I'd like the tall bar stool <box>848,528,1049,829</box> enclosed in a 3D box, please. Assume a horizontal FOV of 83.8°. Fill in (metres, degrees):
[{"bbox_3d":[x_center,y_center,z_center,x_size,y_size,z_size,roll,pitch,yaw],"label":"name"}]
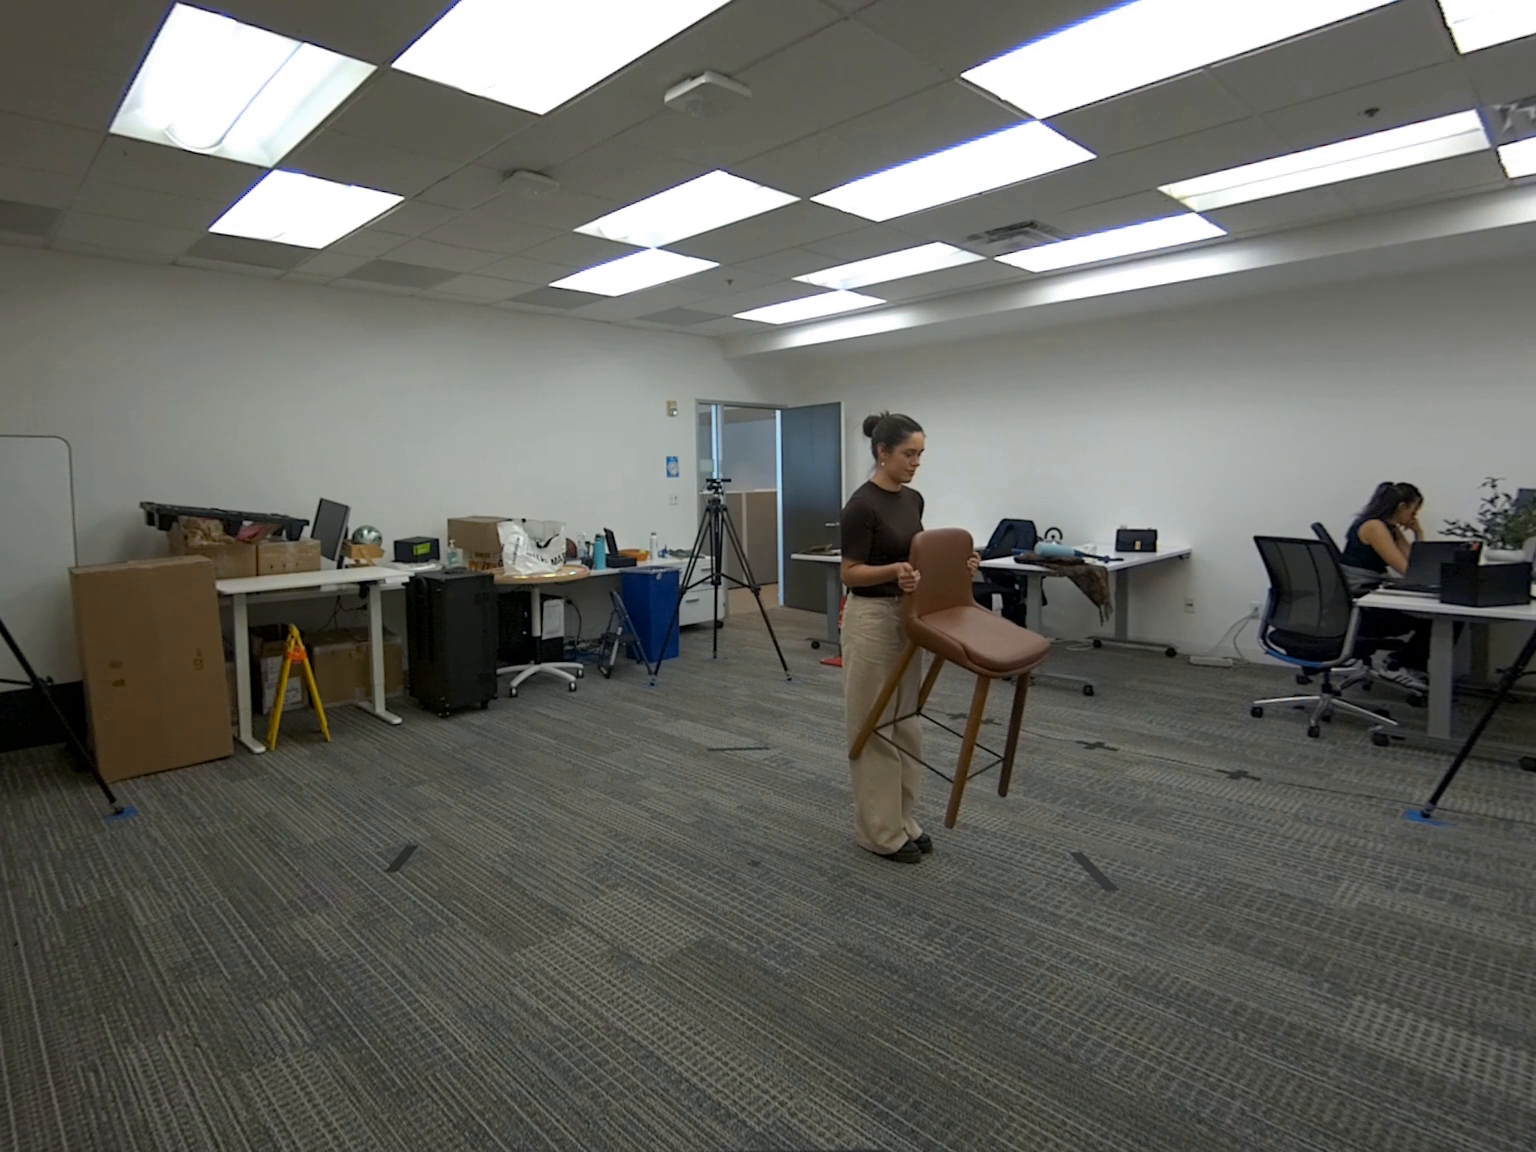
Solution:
[{"bbox_3d":[0.675,0.334,2.982,0.485,0.881,0.444,24,19,39],"label":"tall bar stool"}]
